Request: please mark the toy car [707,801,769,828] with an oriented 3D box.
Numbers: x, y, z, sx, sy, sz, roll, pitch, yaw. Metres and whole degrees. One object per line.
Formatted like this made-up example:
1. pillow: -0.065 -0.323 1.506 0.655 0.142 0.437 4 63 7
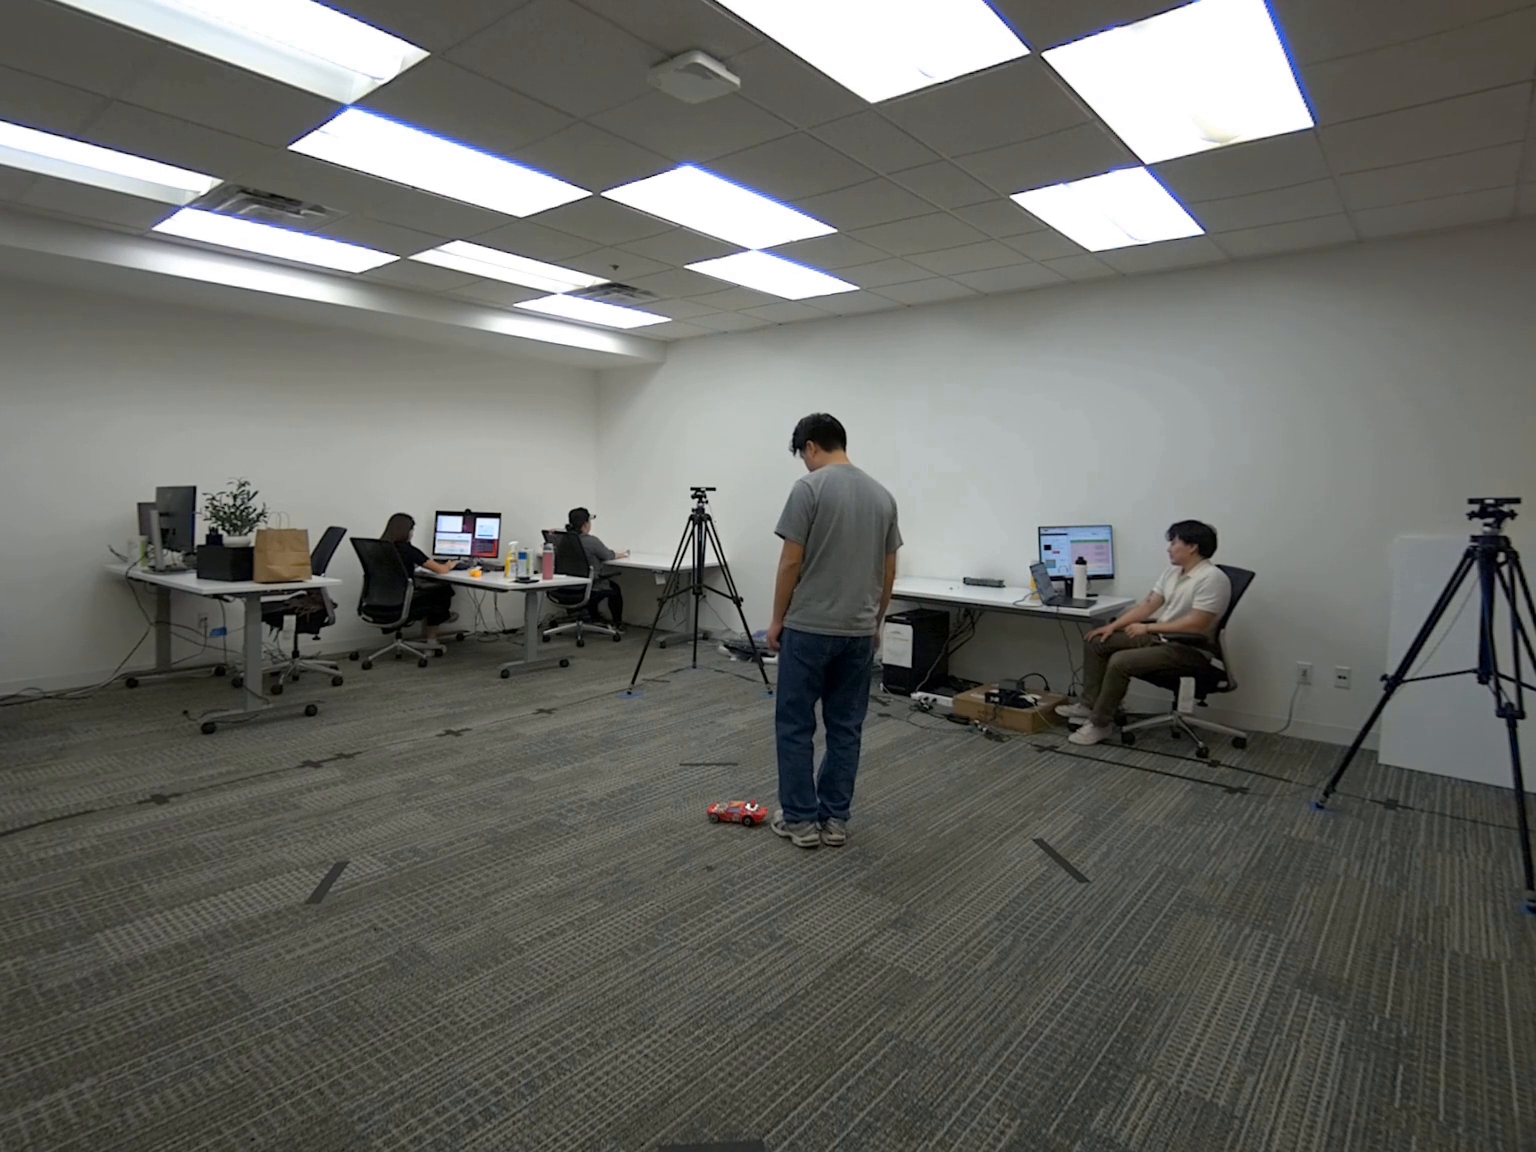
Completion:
1. toy car: -0.130 0.990 3.567 0.257 0.083 0.129 -9 0 11
